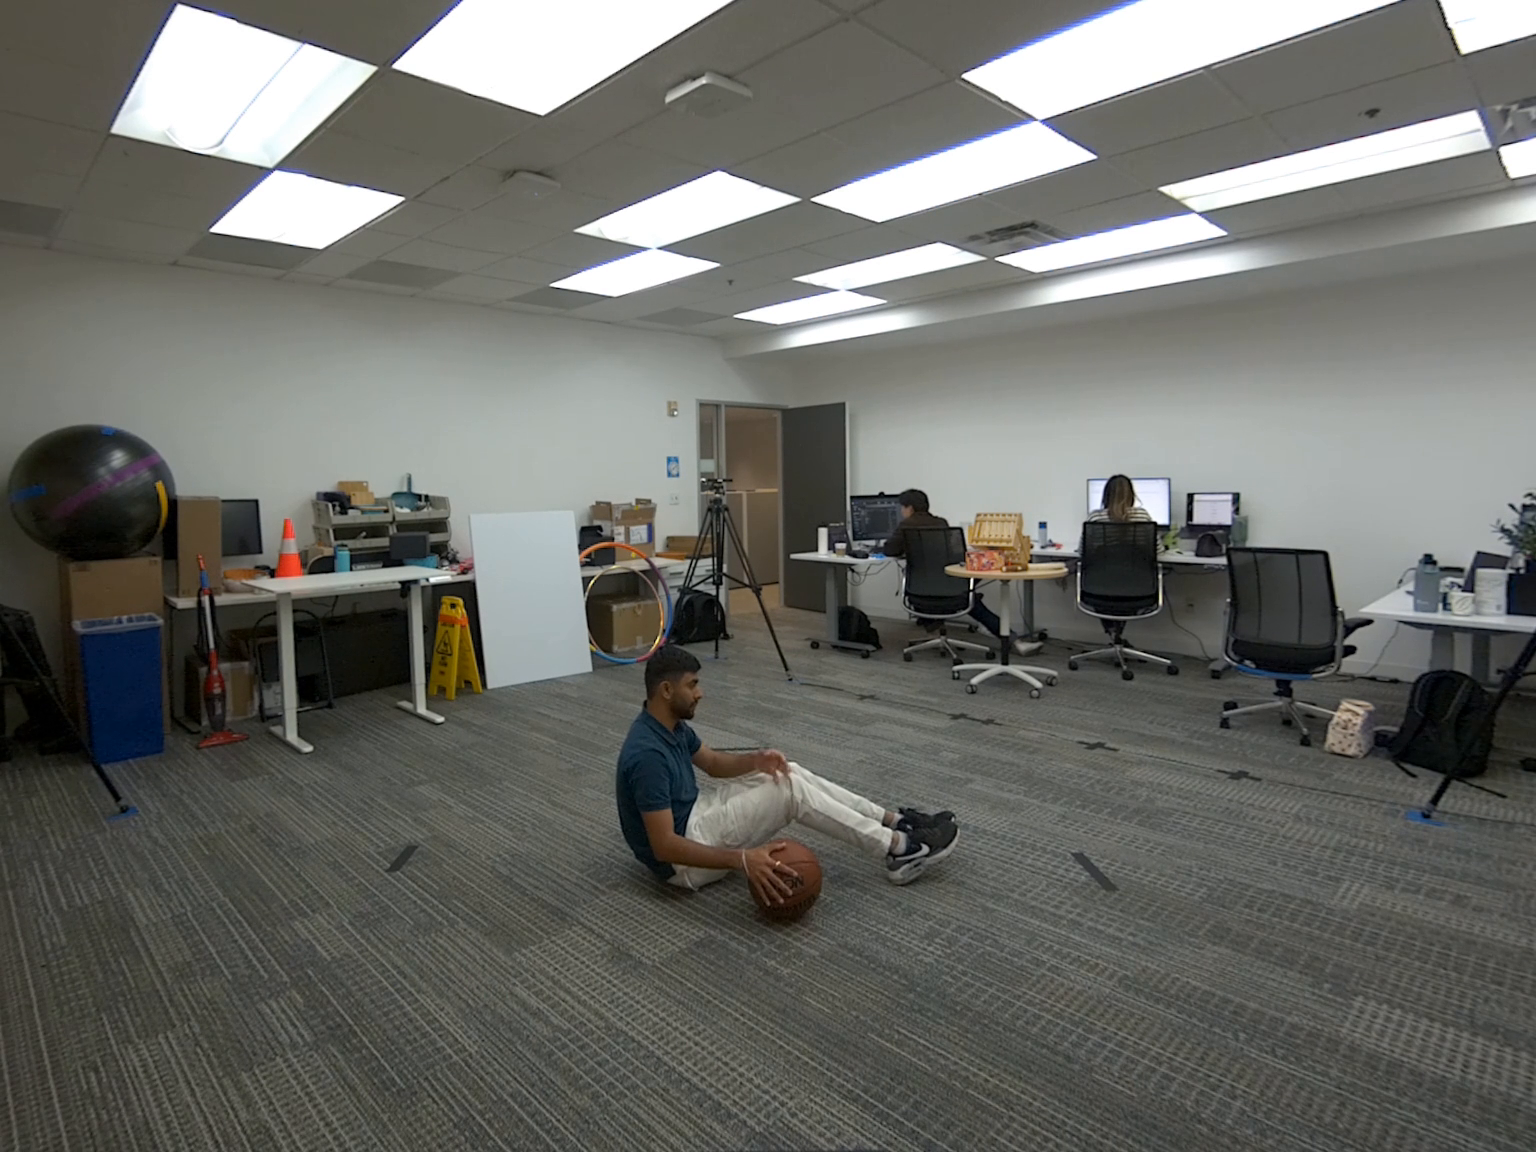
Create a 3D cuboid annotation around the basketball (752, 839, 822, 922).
[{"bbox_3d":[0.047,0.959,2.744,0.236,0.235,0.237,-1,5,-2],"label":"basketball"}]
